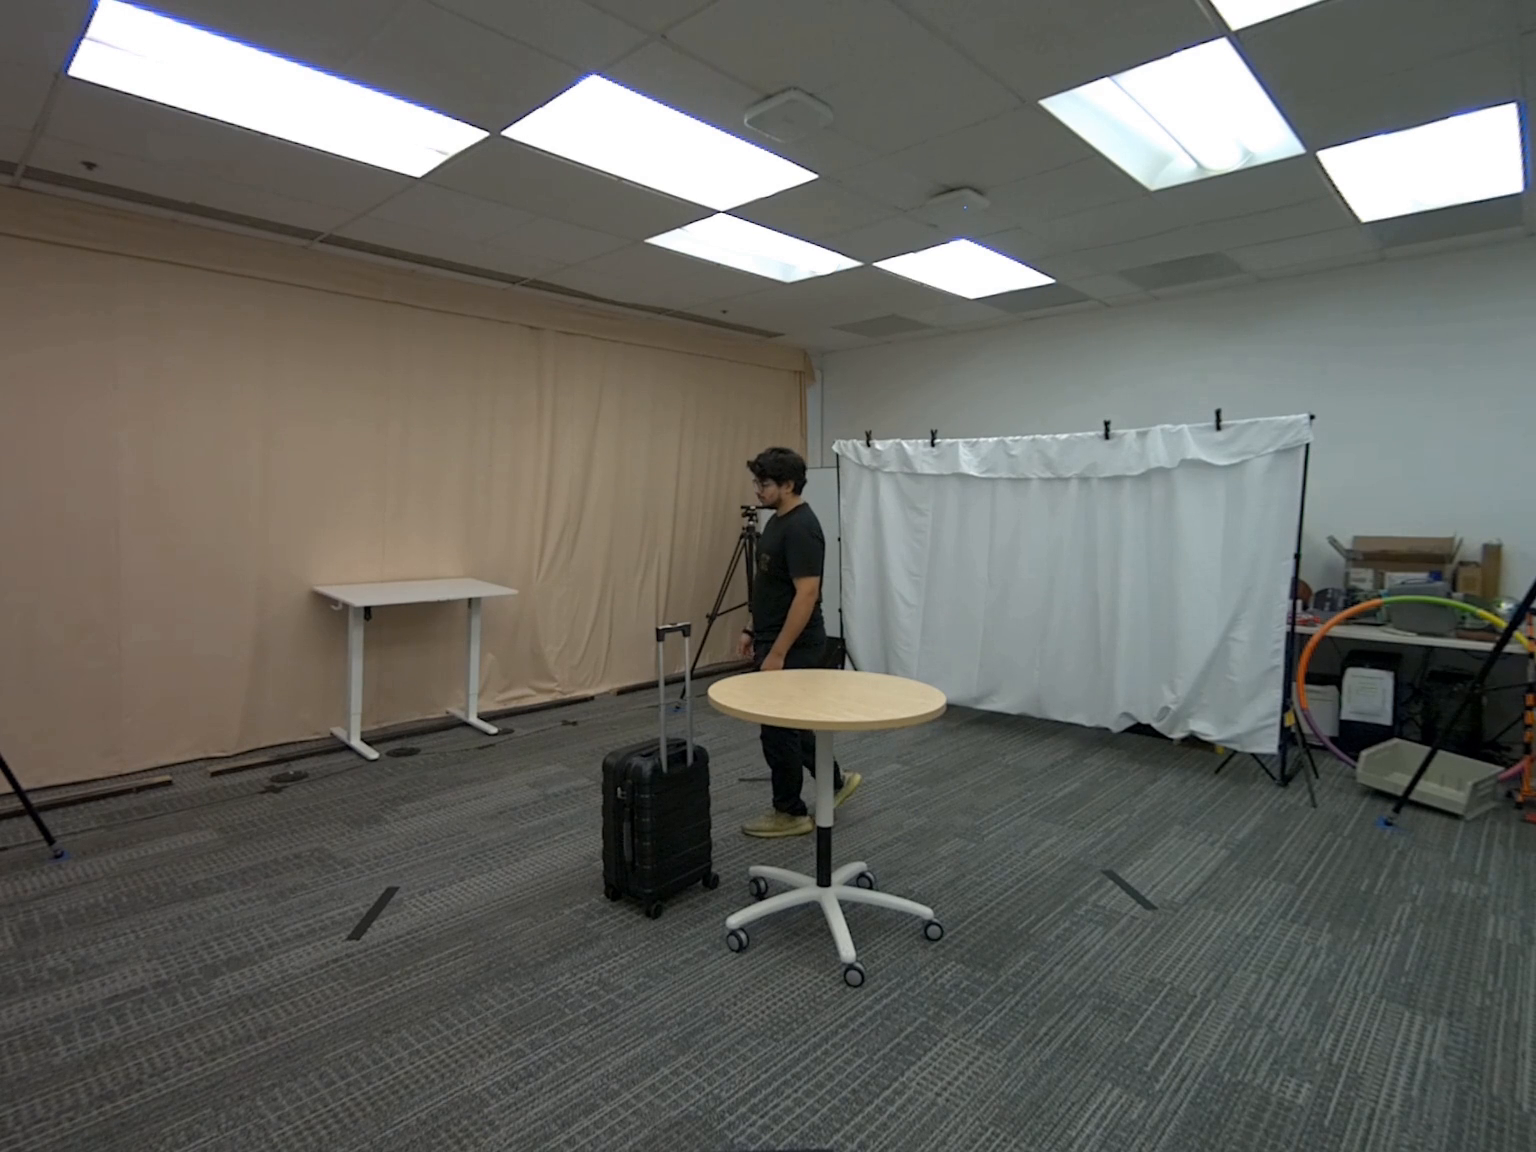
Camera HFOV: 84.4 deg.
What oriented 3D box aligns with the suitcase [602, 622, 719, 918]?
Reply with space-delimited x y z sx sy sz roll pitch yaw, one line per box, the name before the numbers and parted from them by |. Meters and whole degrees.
suitcase | -0.402 0.665 3.000 0.265 0.977 0.373 0 3 38
